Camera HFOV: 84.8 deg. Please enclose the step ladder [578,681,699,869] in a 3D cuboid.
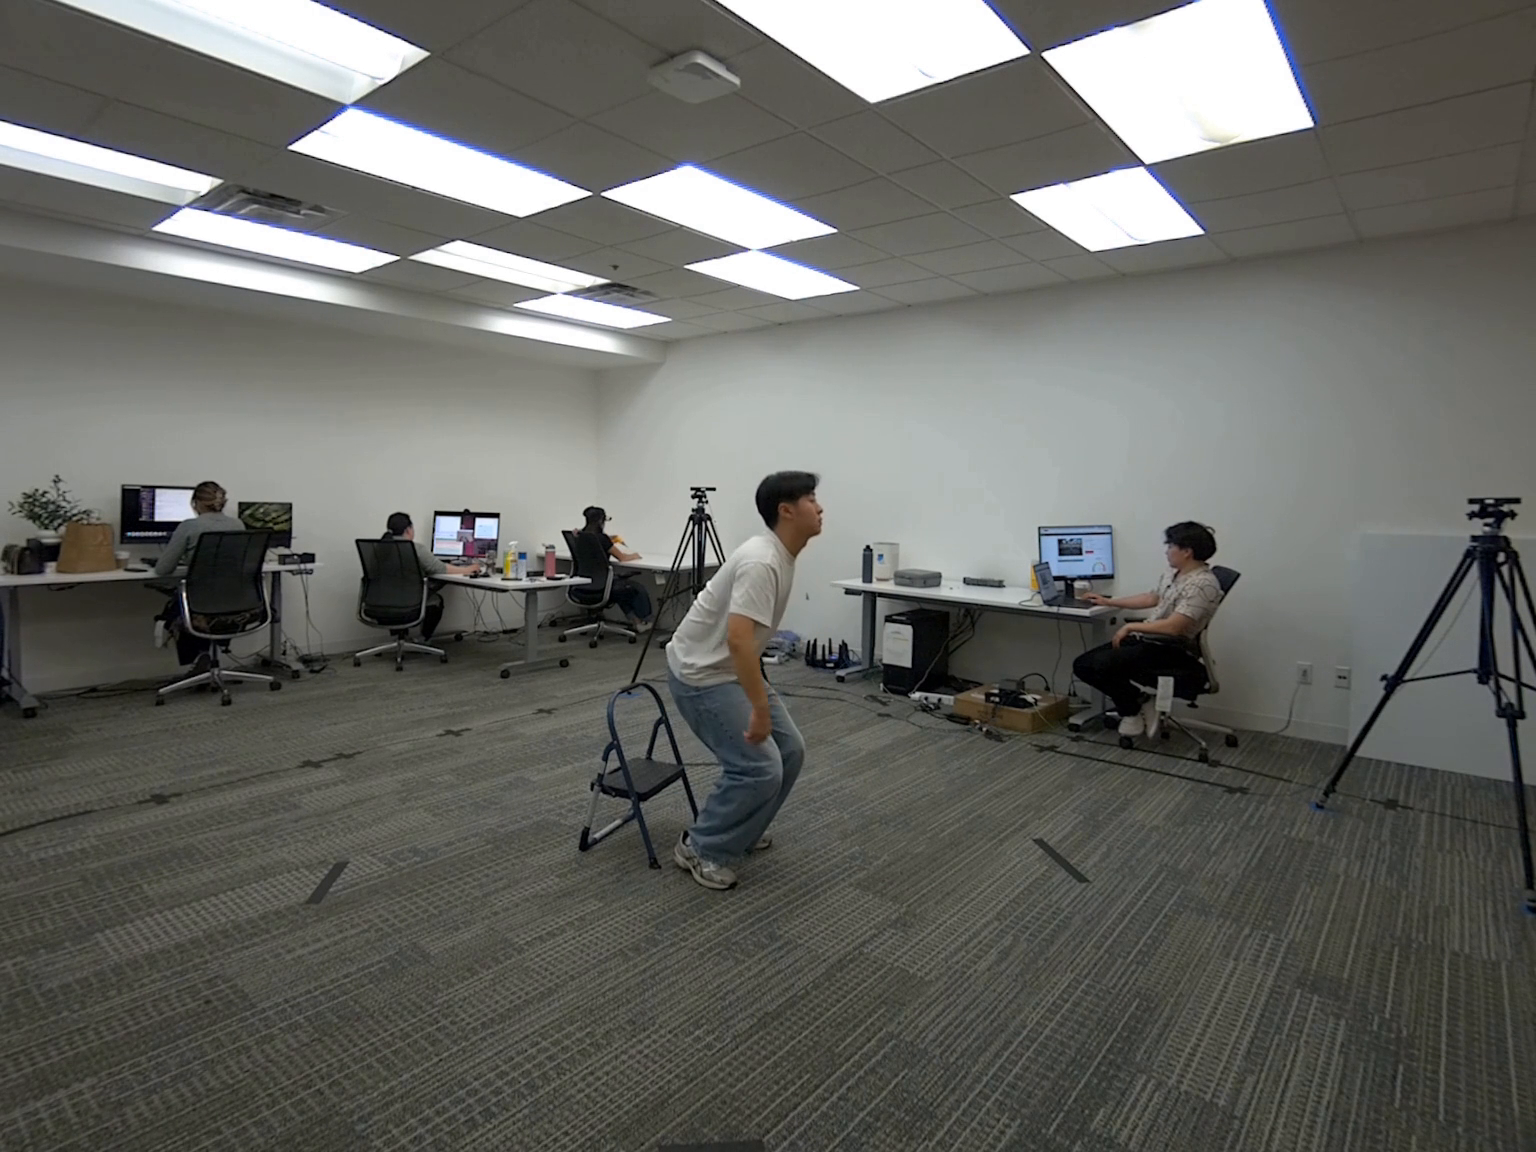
[{"bbox_3d":[-0.497,0.735,3.344,0.357,0.604,0.422,2,4,22],"label":"step ladder"}]
